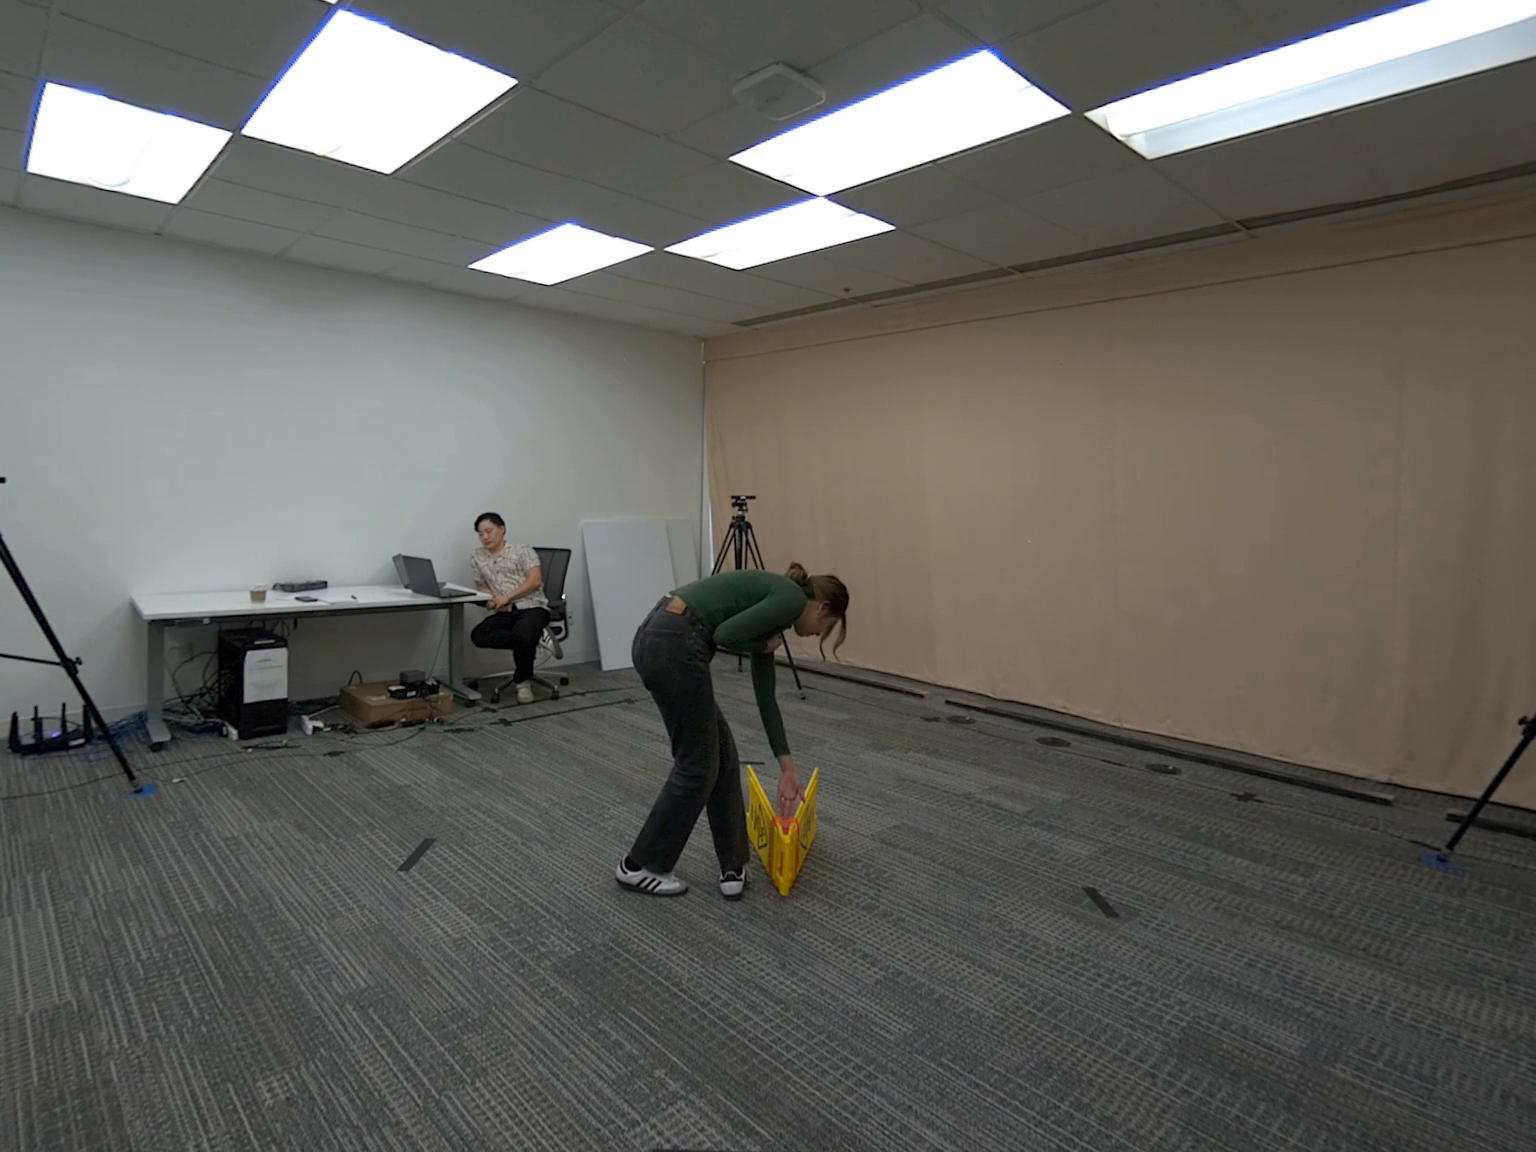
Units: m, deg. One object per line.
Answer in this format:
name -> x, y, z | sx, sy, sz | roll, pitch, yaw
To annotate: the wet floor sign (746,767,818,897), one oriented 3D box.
wet floor sign -> 0.055, 0.965, 3.197 | 0.290, 0.281, 0.649 | 1, 7, -1
